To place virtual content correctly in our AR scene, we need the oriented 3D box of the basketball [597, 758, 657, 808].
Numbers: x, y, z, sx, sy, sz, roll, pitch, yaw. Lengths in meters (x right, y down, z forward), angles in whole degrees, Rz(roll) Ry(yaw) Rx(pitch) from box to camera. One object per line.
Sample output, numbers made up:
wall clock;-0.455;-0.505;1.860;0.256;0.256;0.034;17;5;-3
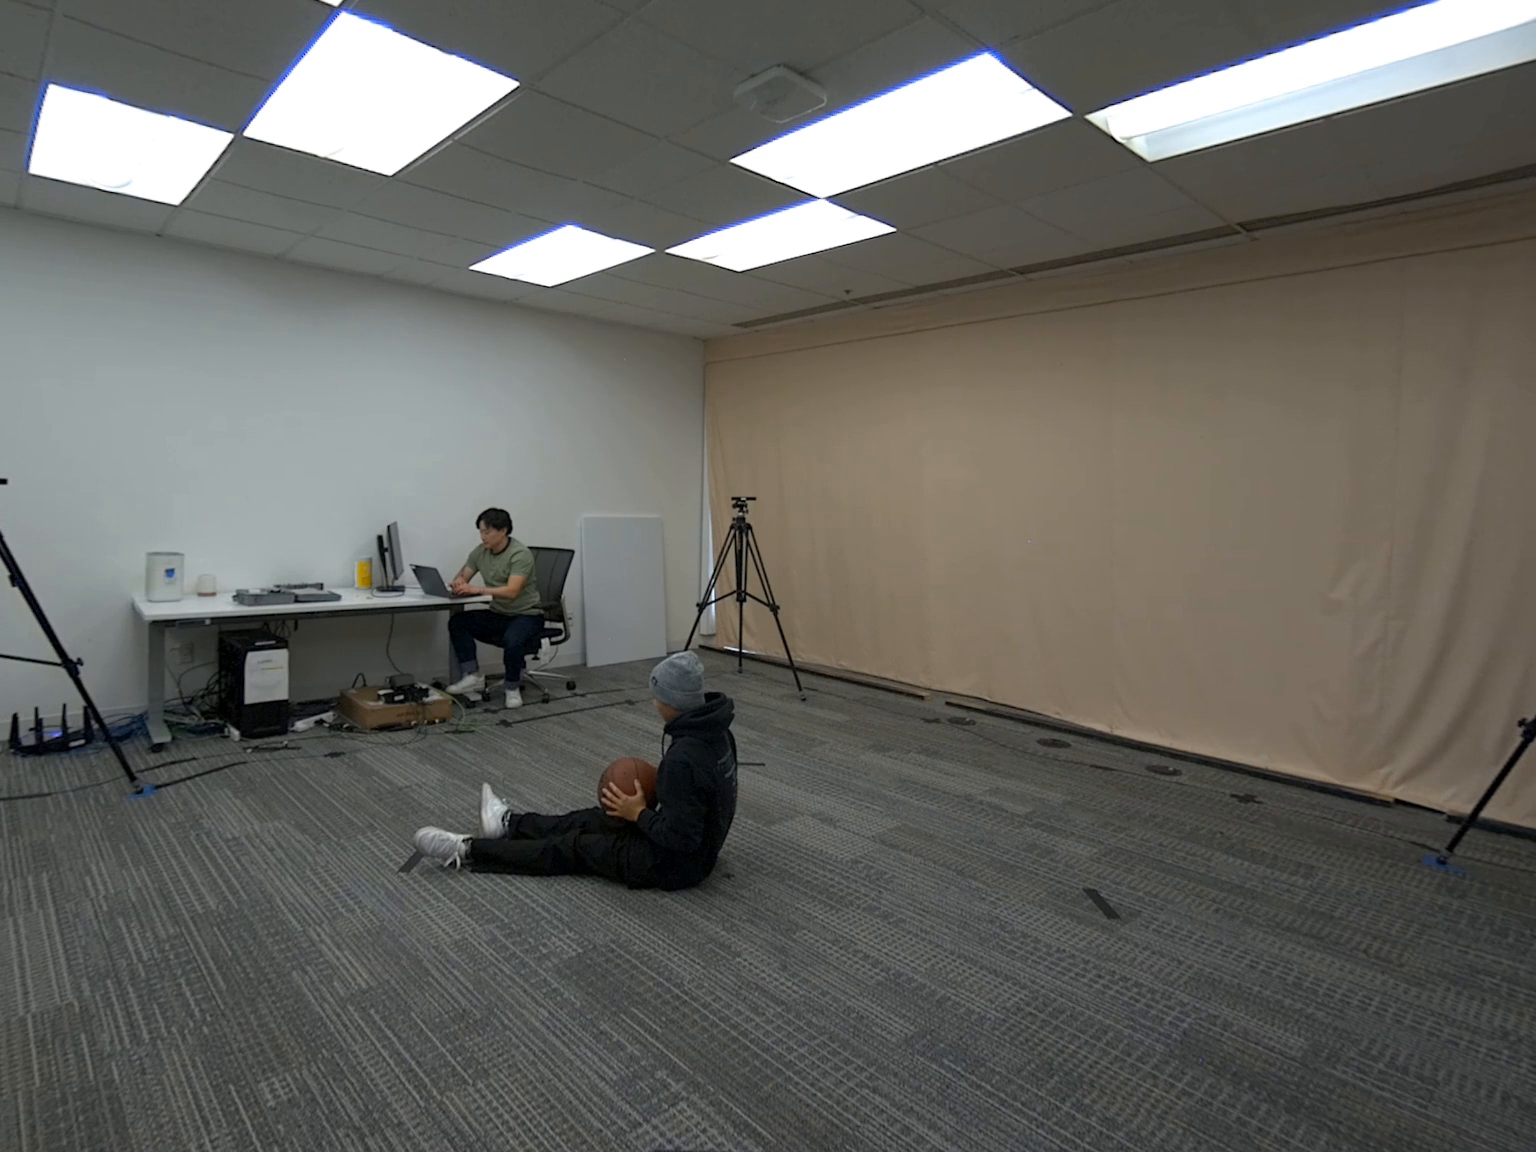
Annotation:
basketball;-0.520;0.800;3.160;0.236;0.235;0.237;1;4;-1
